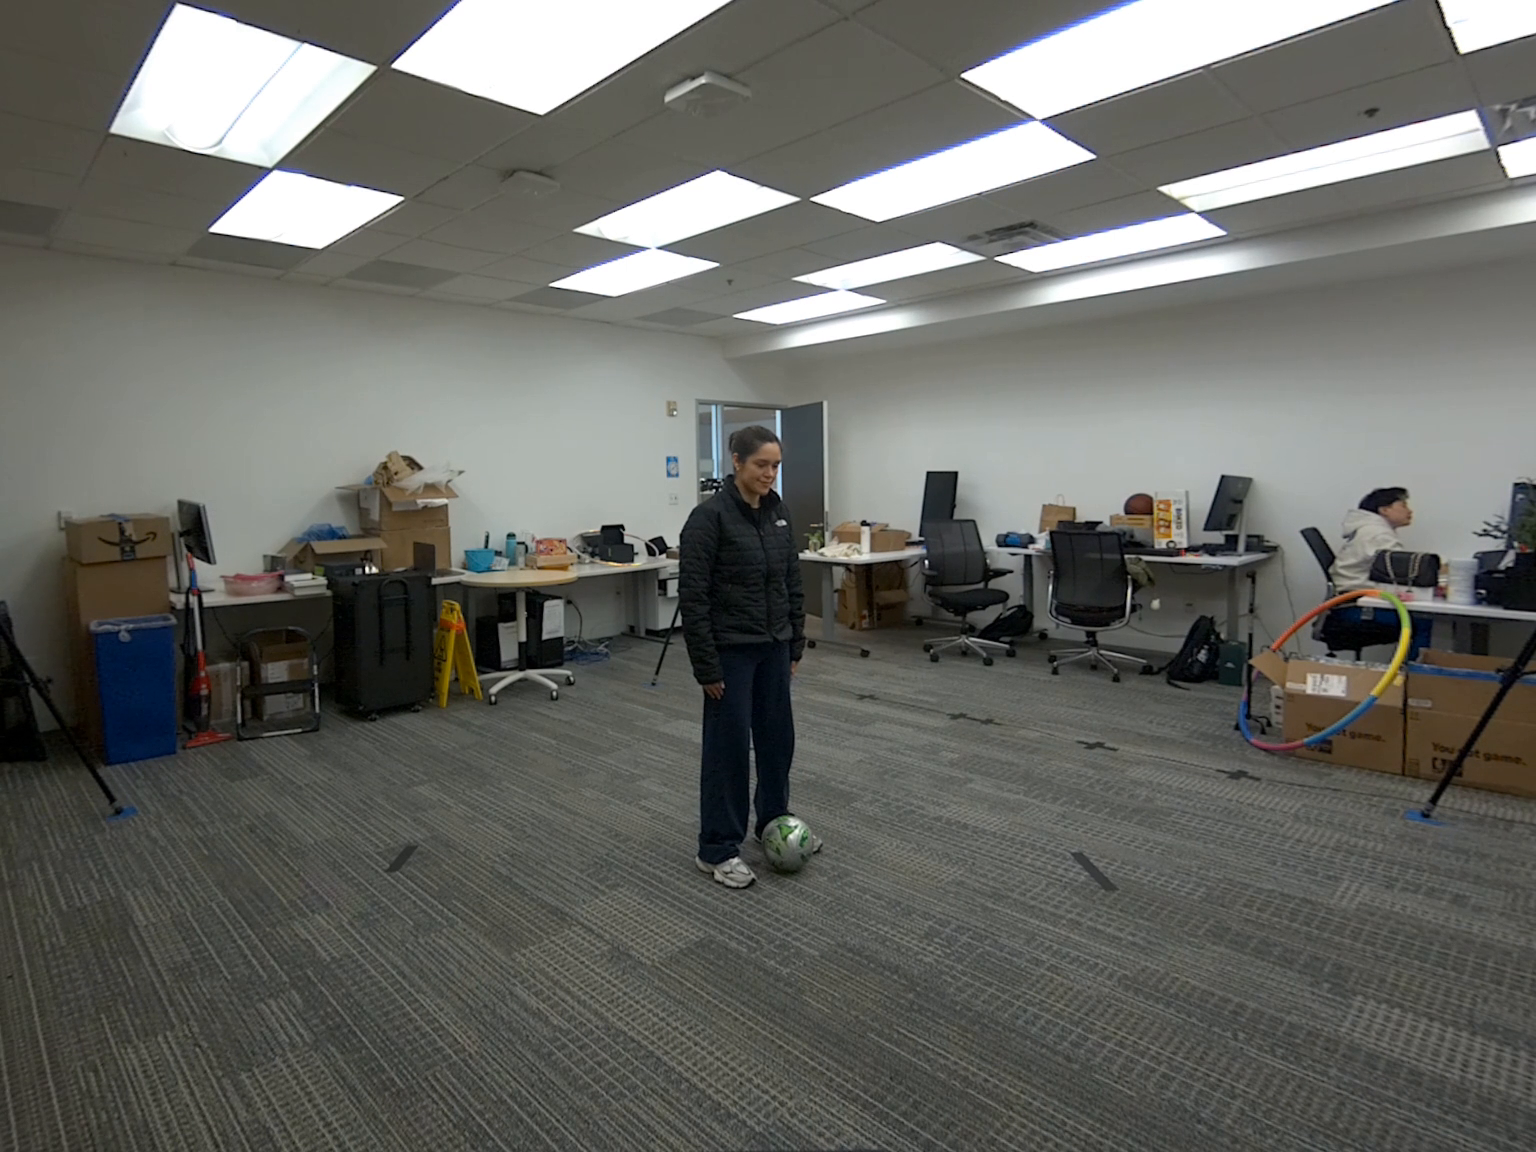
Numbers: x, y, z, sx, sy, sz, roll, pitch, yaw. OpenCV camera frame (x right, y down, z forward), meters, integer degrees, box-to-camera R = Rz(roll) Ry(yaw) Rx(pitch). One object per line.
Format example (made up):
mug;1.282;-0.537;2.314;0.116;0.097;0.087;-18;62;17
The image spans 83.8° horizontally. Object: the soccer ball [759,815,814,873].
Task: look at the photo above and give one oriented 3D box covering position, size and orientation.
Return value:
soccer ball;0.063;0.954;3.054;0.187;0.187;0.188;-1;5;-2
